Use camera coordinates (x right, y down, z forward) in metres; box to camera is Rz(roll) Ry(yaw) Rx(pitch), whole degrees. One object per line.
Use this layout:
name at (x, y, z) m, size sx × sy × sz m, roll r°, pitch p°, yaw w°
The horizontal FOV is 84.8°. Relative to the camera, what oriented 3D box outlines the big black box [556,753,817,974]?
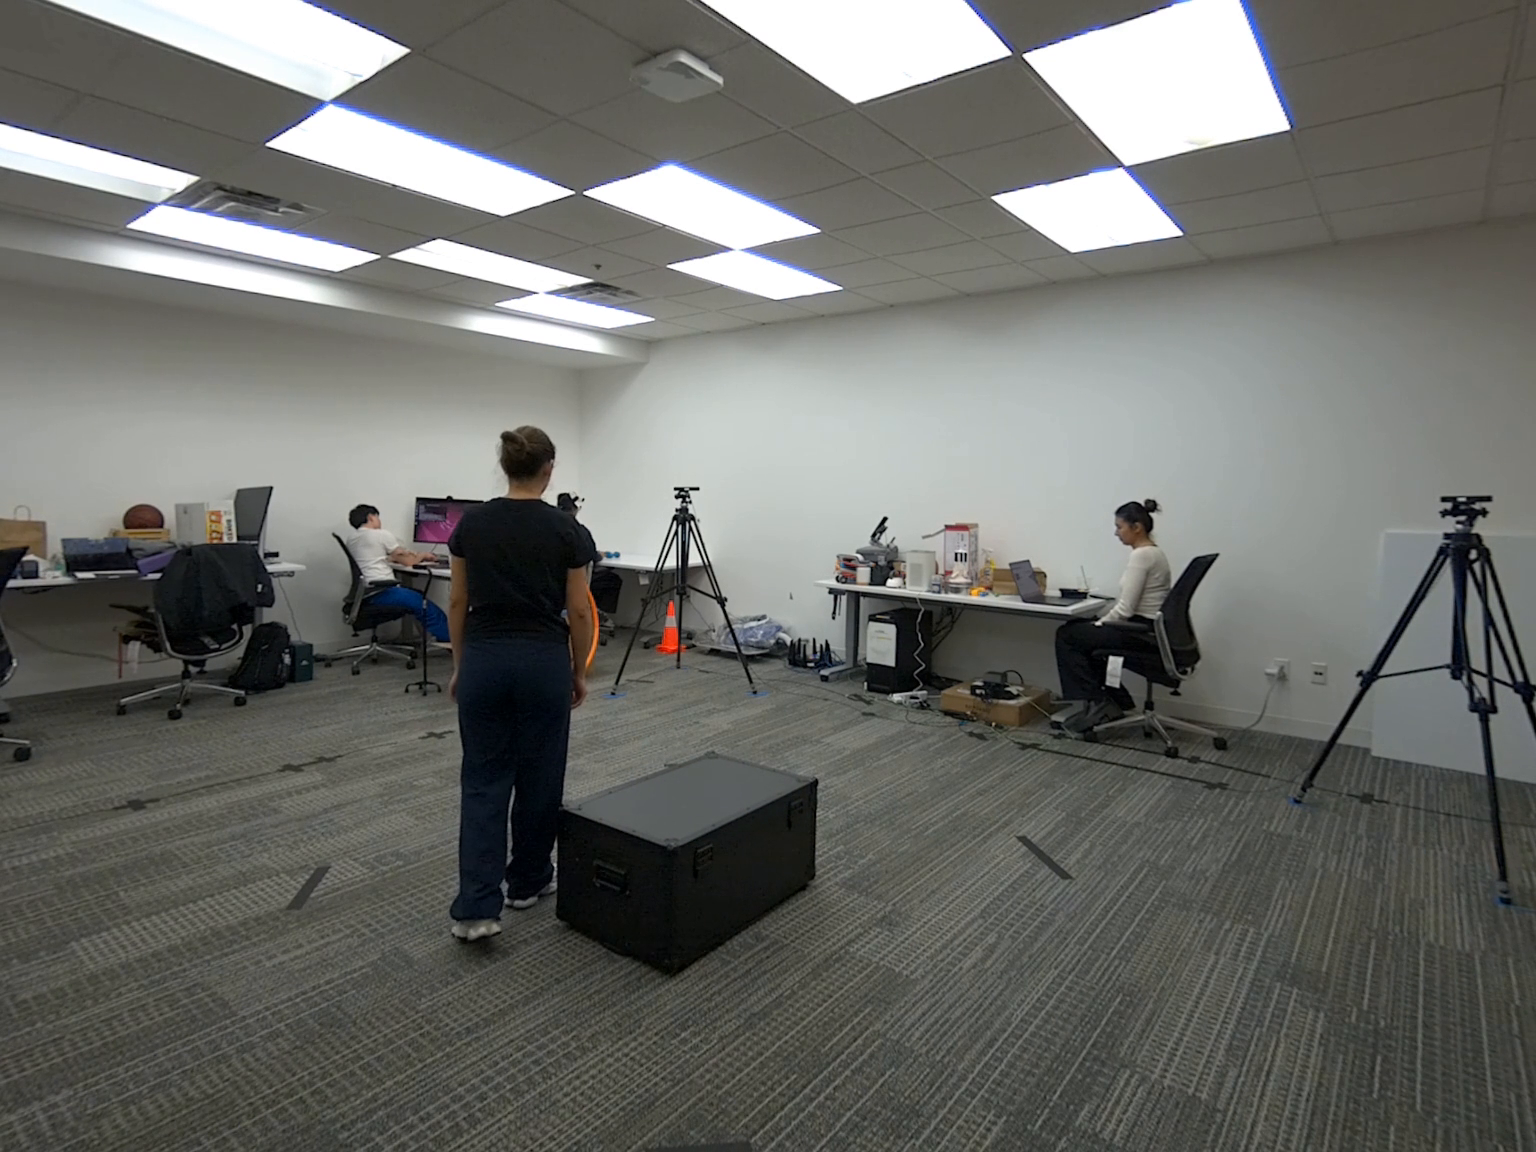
big black box at (-0.213, 0.900, 2.866) m, size 0.538 × 0.394 × 0.837 m, roll 4°, pitch 7°, yaw 36°
